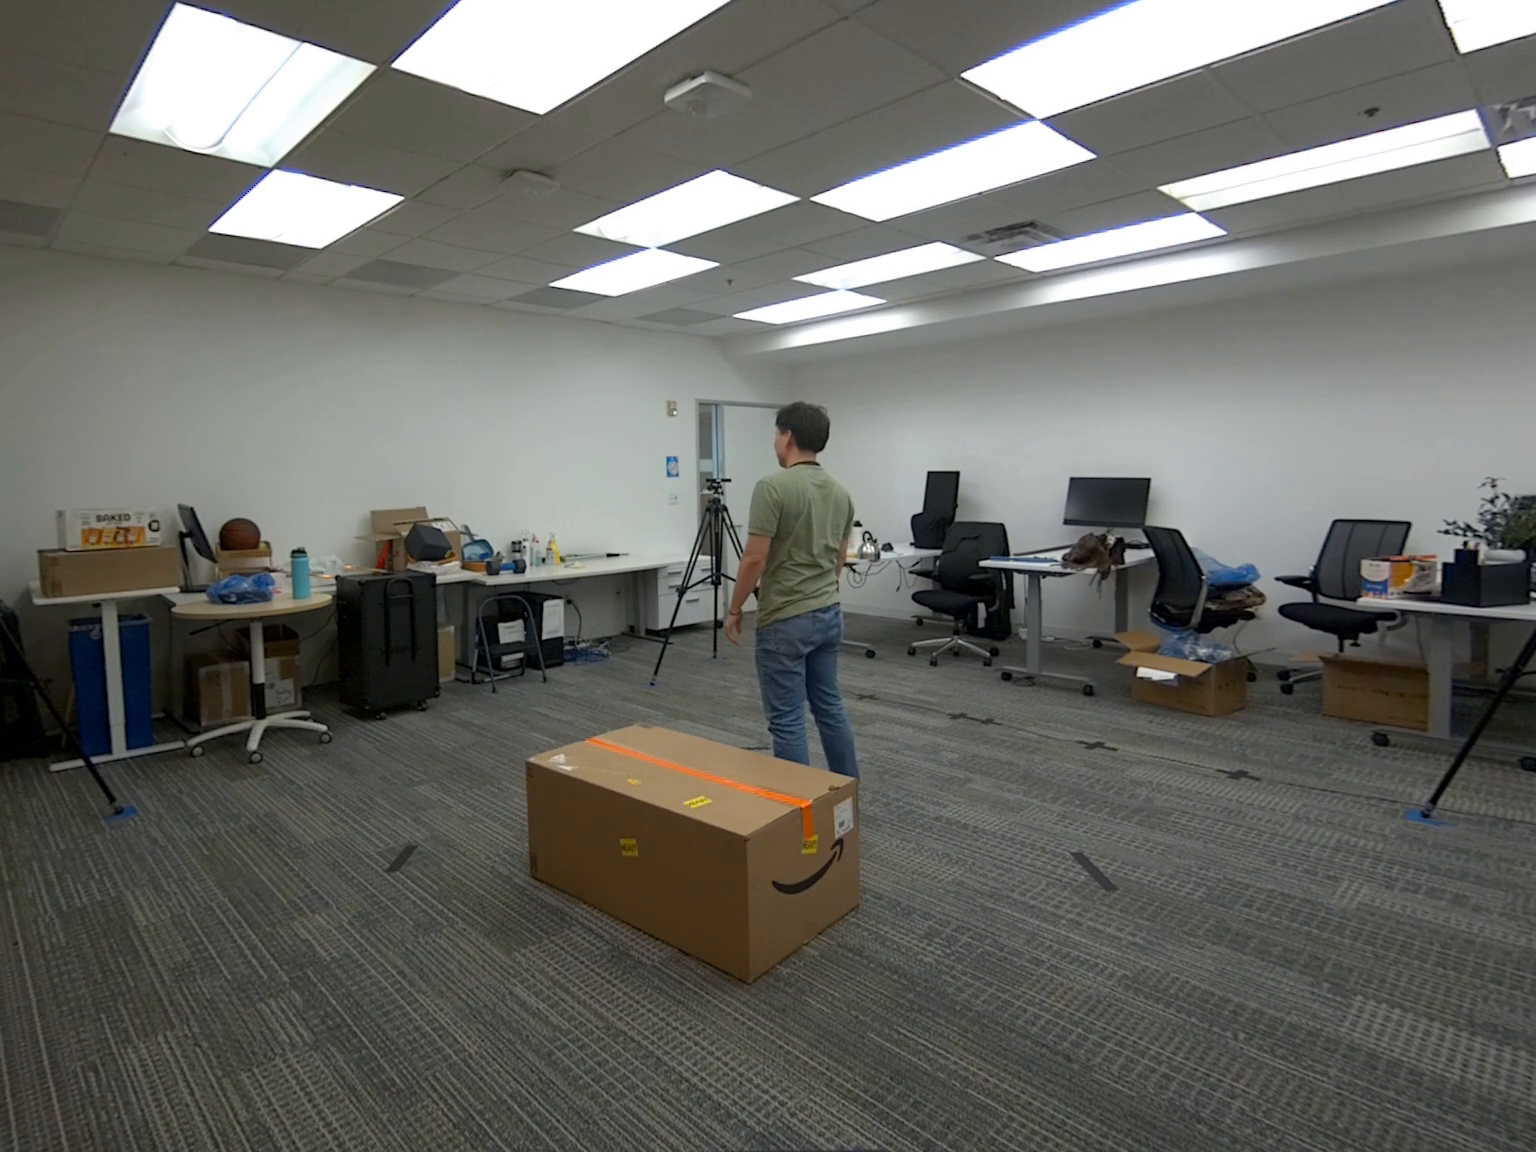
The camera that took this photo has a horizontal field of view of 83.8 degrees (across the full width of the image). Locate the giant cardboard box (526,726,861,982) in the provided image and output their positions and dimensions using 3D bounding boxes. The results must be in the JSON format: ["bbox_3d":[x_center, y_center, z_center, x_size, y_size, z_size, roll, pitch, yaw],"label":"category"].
[{"bbox_3d":[-0.278,0.860,2.898,1.057,0.424,0.563,4,8,40],"label":"giant cardboard box"}]
